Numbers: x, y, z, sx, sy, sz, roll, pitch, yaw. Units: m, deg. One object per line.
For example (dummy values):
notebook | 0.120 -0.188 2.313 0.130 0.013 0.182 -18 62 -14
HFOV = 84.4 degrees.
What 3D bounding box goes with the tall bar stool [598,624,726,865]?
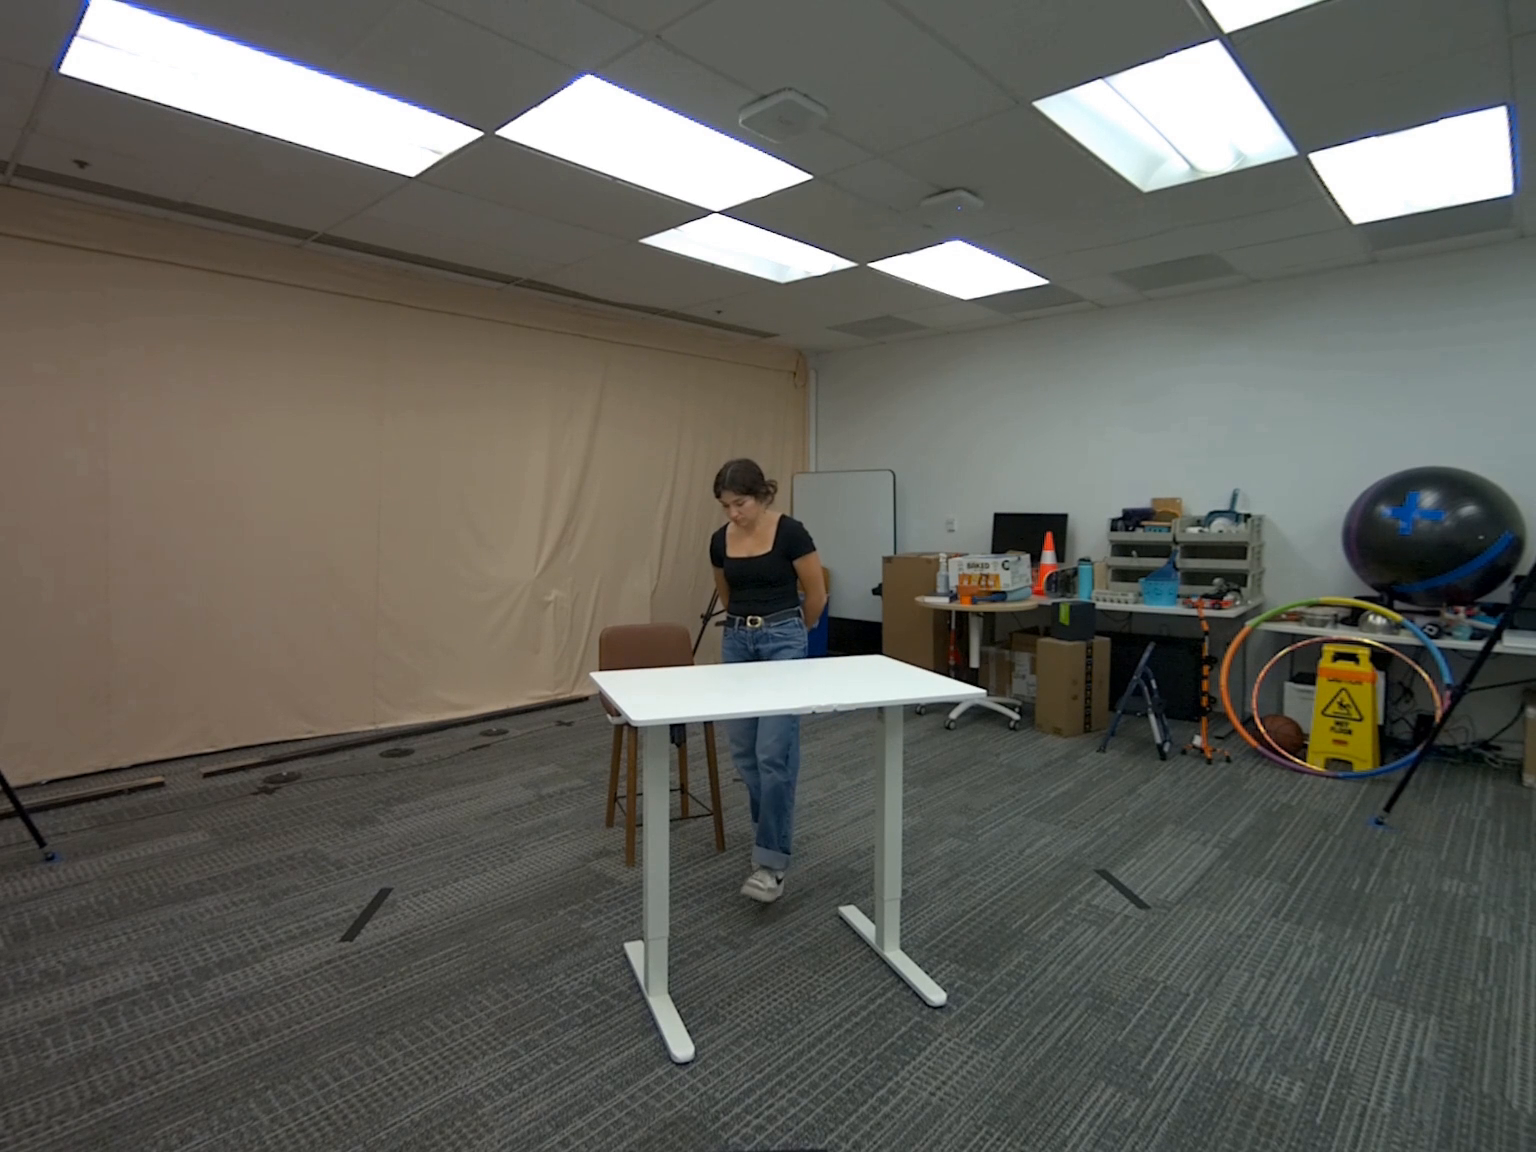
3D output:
tall bar stool | -0.452 0.669 3.520 0.447 0.889 0.478 -2 2 -22
